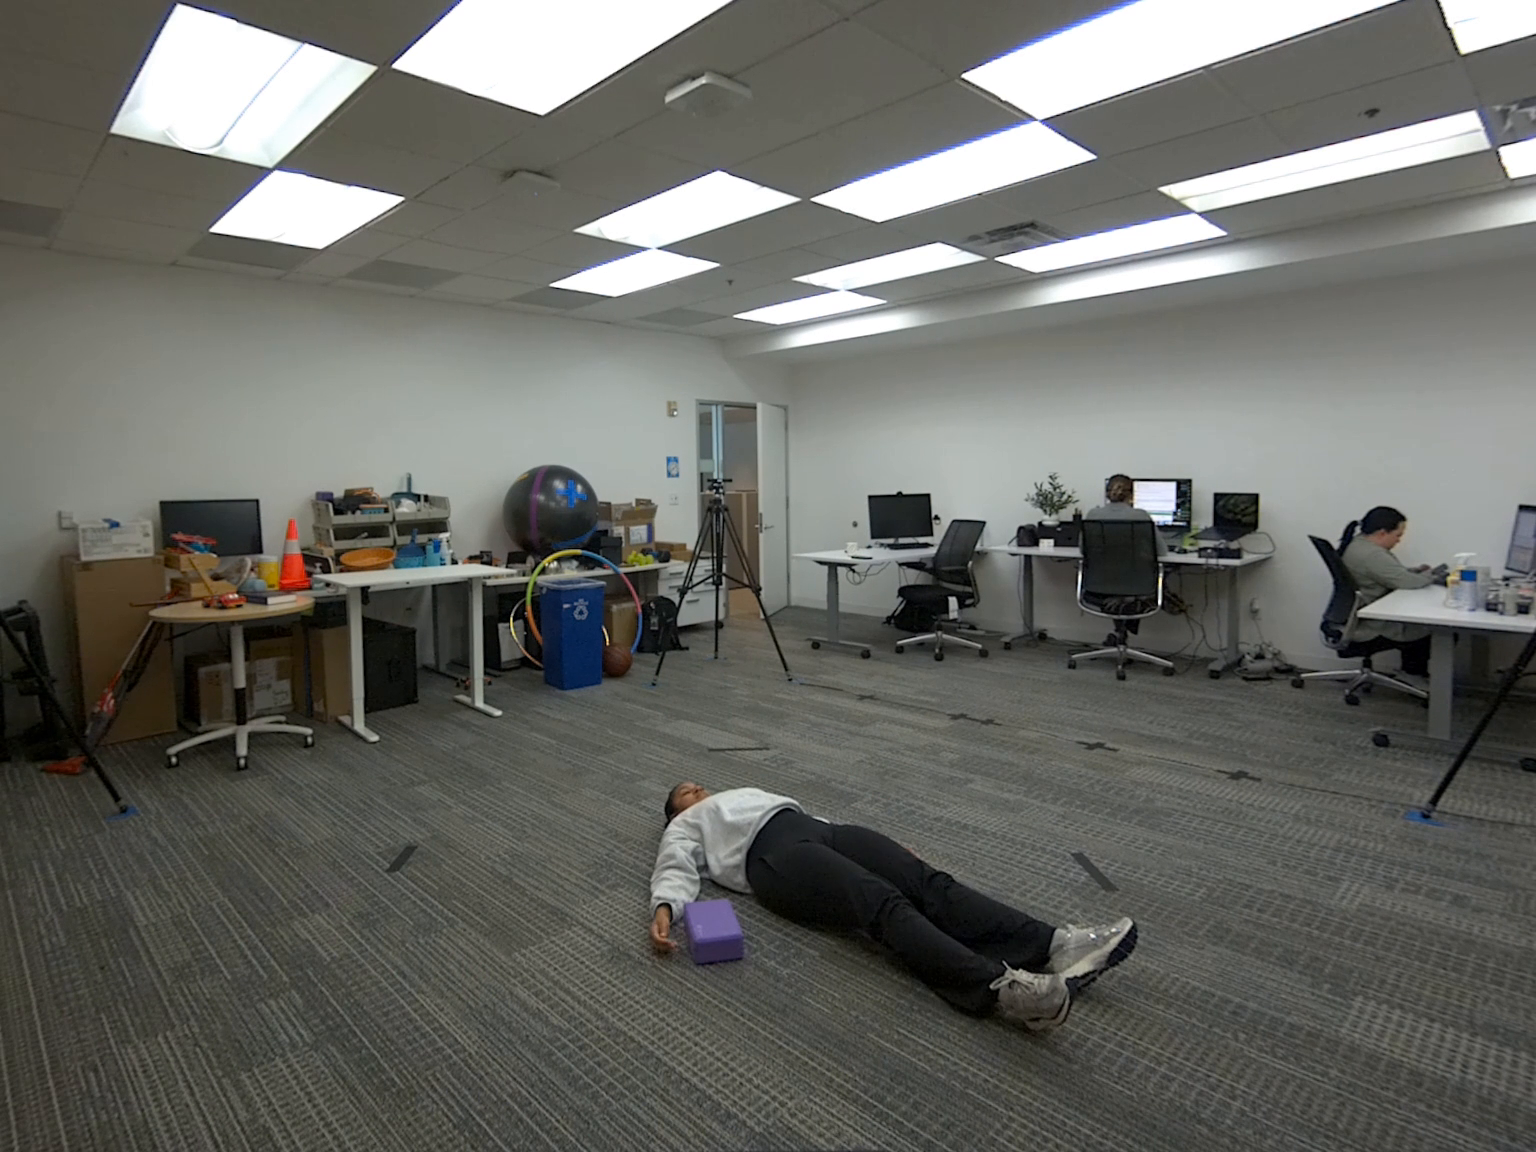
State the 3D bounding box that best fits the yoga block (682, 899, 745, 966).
[{"bbox_3d":[-0.162,1.071,2.580,0.147,0.076,0.233,-2,6,-13],"label":"yoga block"}]
